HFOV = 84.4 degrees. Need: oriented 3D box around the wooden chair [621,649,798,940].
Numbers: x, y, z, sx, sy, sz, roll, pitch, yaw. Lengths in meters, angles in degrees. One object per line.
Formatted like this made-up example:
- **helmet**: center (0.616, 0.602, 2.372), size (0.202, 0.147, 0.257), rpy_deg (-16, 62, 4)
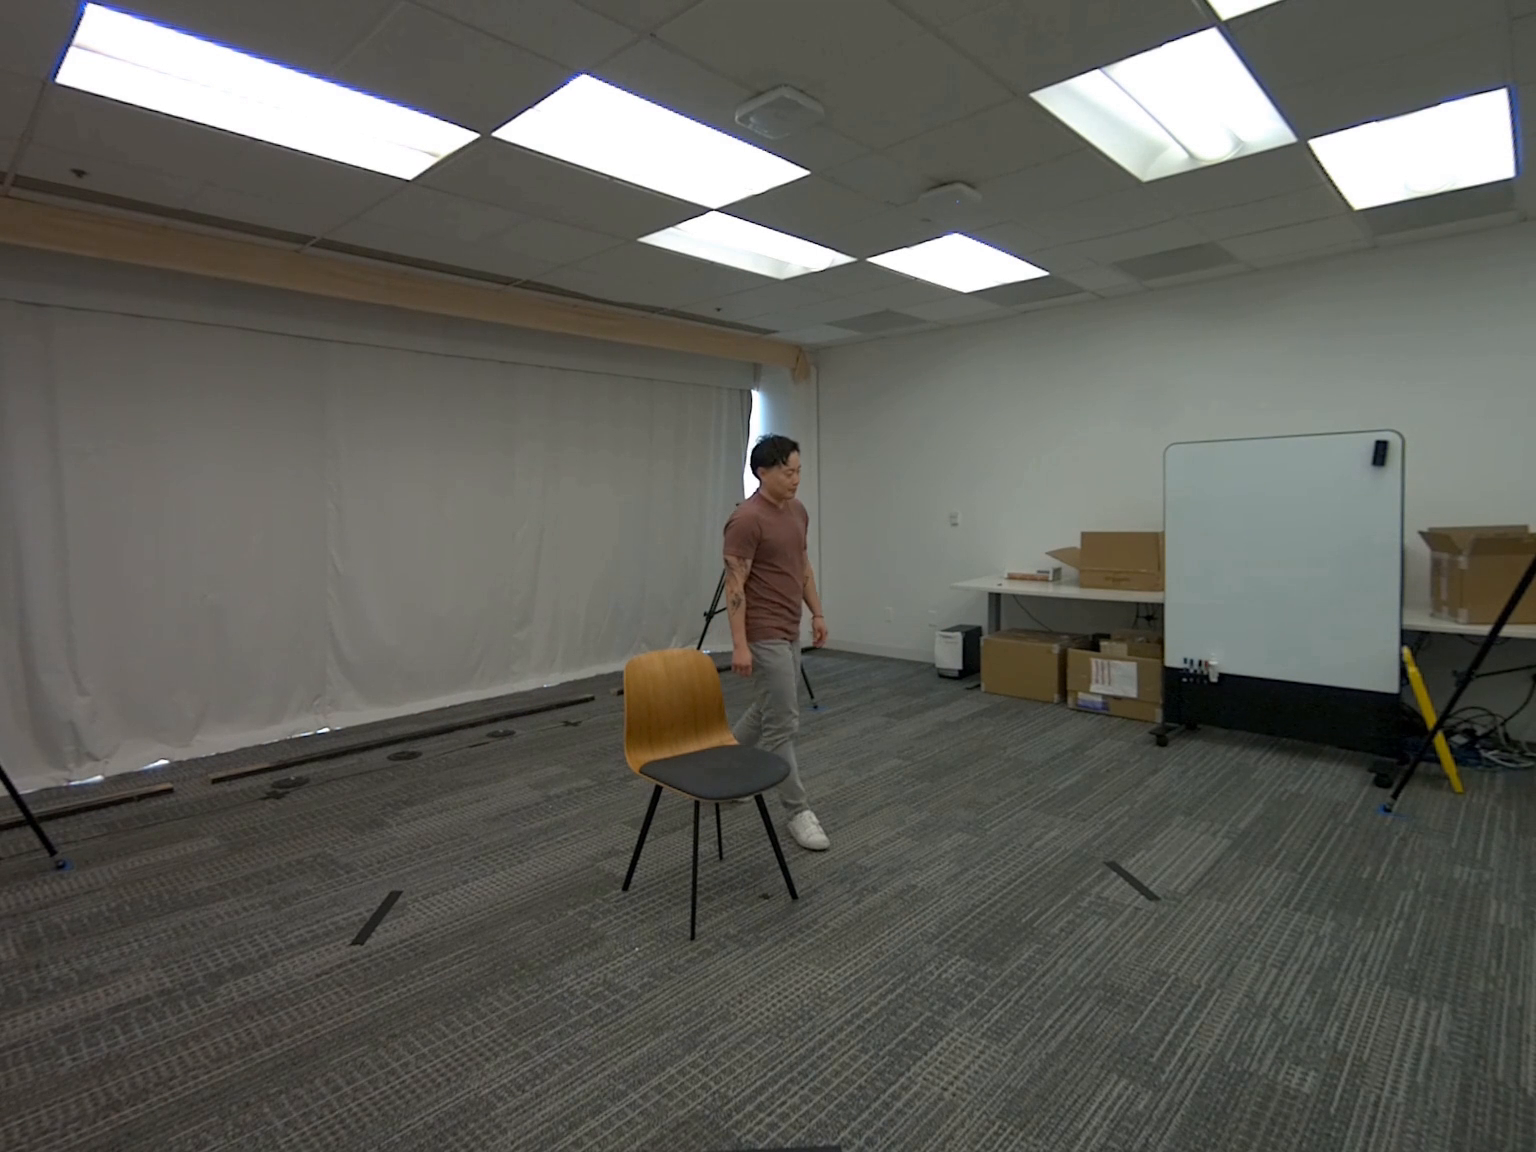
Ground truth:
- **wooden chair**: center (-0.219, 0.717, 2.962), size (0.464, 0.877, 0.539), rpy_deg (-4, 0, -38)
